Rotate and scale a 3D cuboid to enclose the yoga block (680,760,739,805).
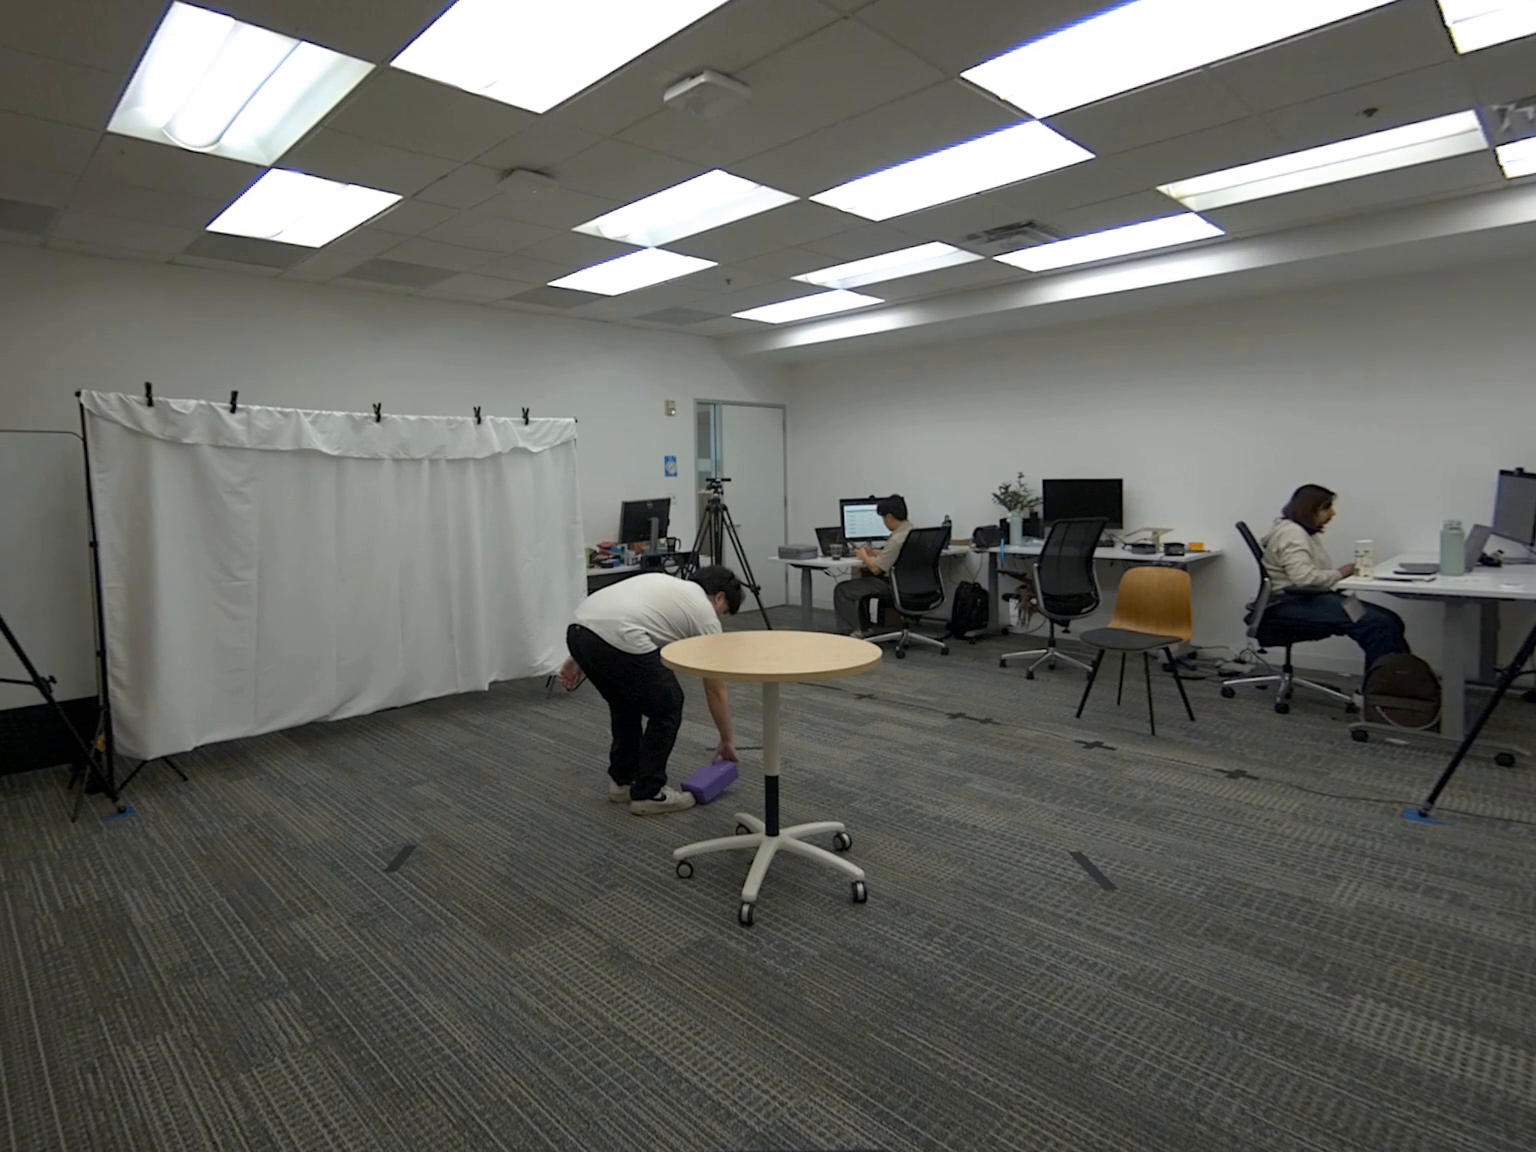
[{"bbox_3d":[-0.259,0.896,3.763,0.153,0.075,0.226,-3,17,43],"label":"yoga block"}]
